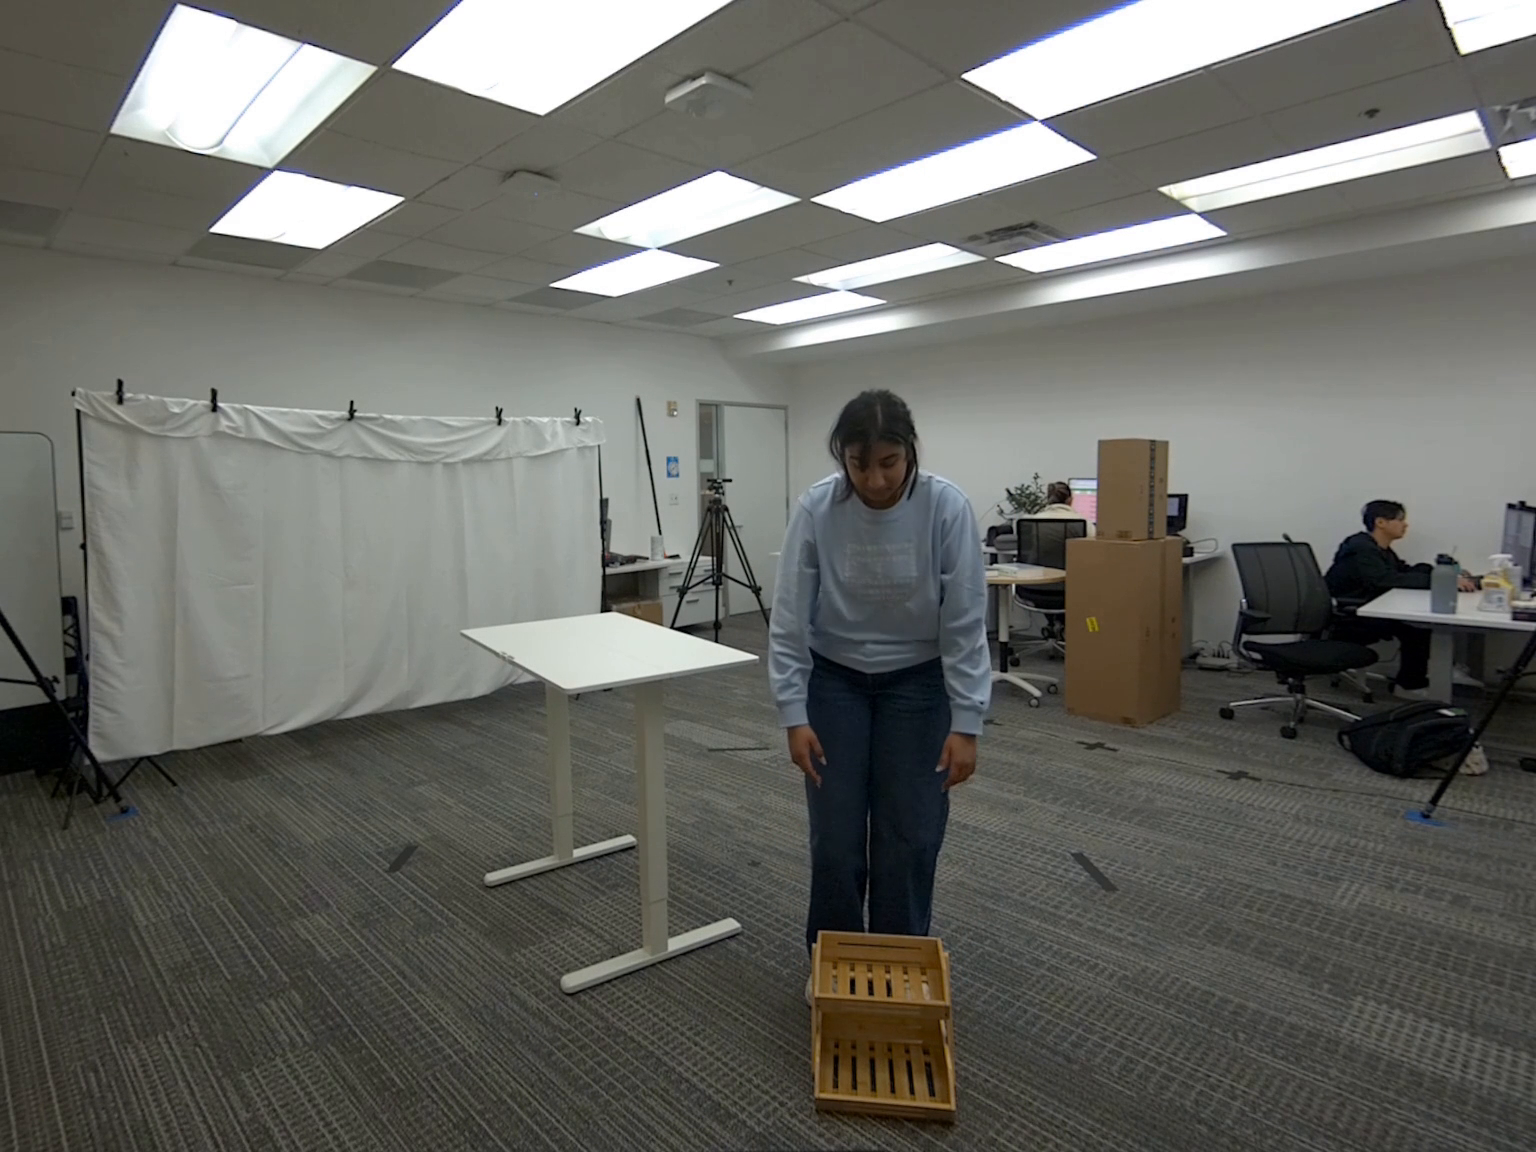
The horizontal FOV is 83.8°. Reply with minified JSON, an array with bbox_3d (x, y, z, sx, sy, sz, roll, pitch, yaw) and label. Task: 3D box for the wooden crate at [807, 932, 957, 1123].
[{"bbox_3d":[0.271,1.041,1.988,0.327,0.272,0.301,-1,4,6],"label":"wooden crate"}]
